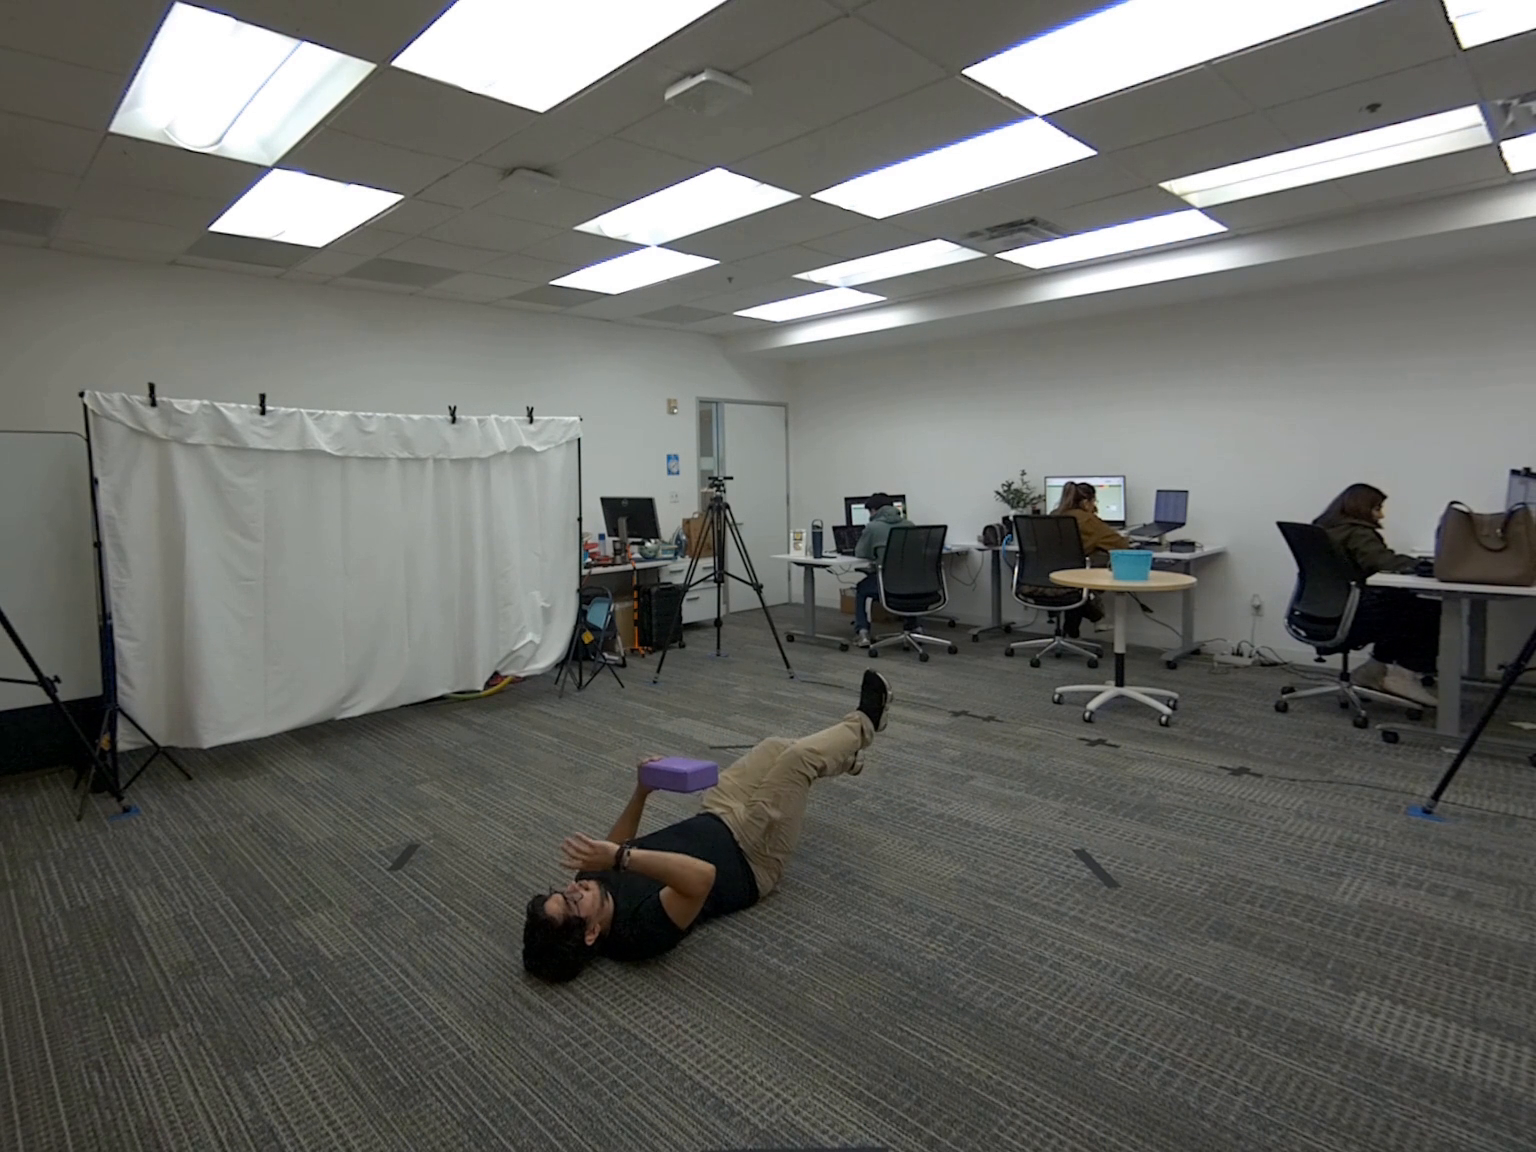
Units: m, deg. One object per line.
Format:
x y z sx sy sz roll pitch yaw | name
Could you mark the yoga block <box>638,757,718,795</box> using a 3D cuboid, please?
-0.287 0.656 2.797 0.235 0.077 0.145 -5 -2 43 | yoga block
